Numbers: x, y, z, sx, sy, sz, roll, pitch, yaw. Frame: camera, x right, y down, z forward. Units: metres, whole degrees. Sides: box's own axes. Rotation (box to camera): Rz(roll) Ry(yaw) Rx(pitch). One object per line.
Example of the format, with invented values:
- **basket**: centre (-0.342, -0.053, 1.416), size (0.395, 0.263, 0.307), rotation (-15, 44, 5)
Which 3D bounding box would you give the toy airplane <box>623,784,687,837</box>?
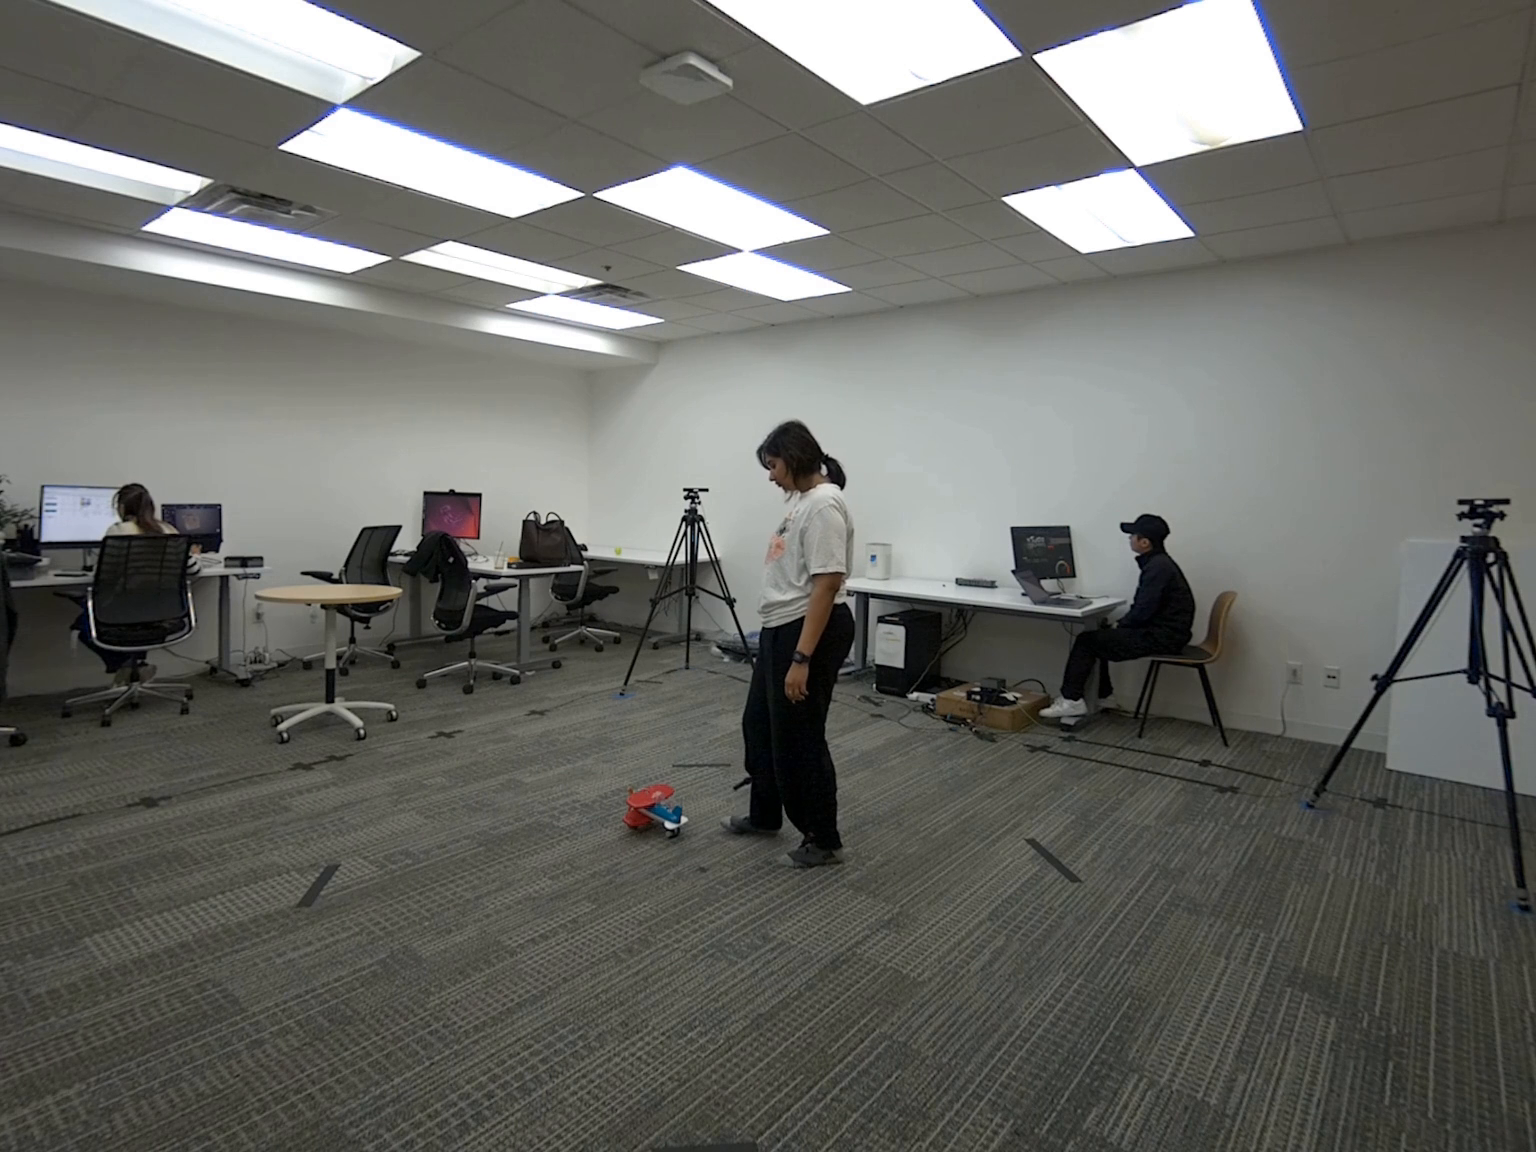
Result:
- **toy airplane**: centre (-0.455, 0.950, 3.471), size (0.261, 0.156, 0.250), rotation (0, 4, 7)
